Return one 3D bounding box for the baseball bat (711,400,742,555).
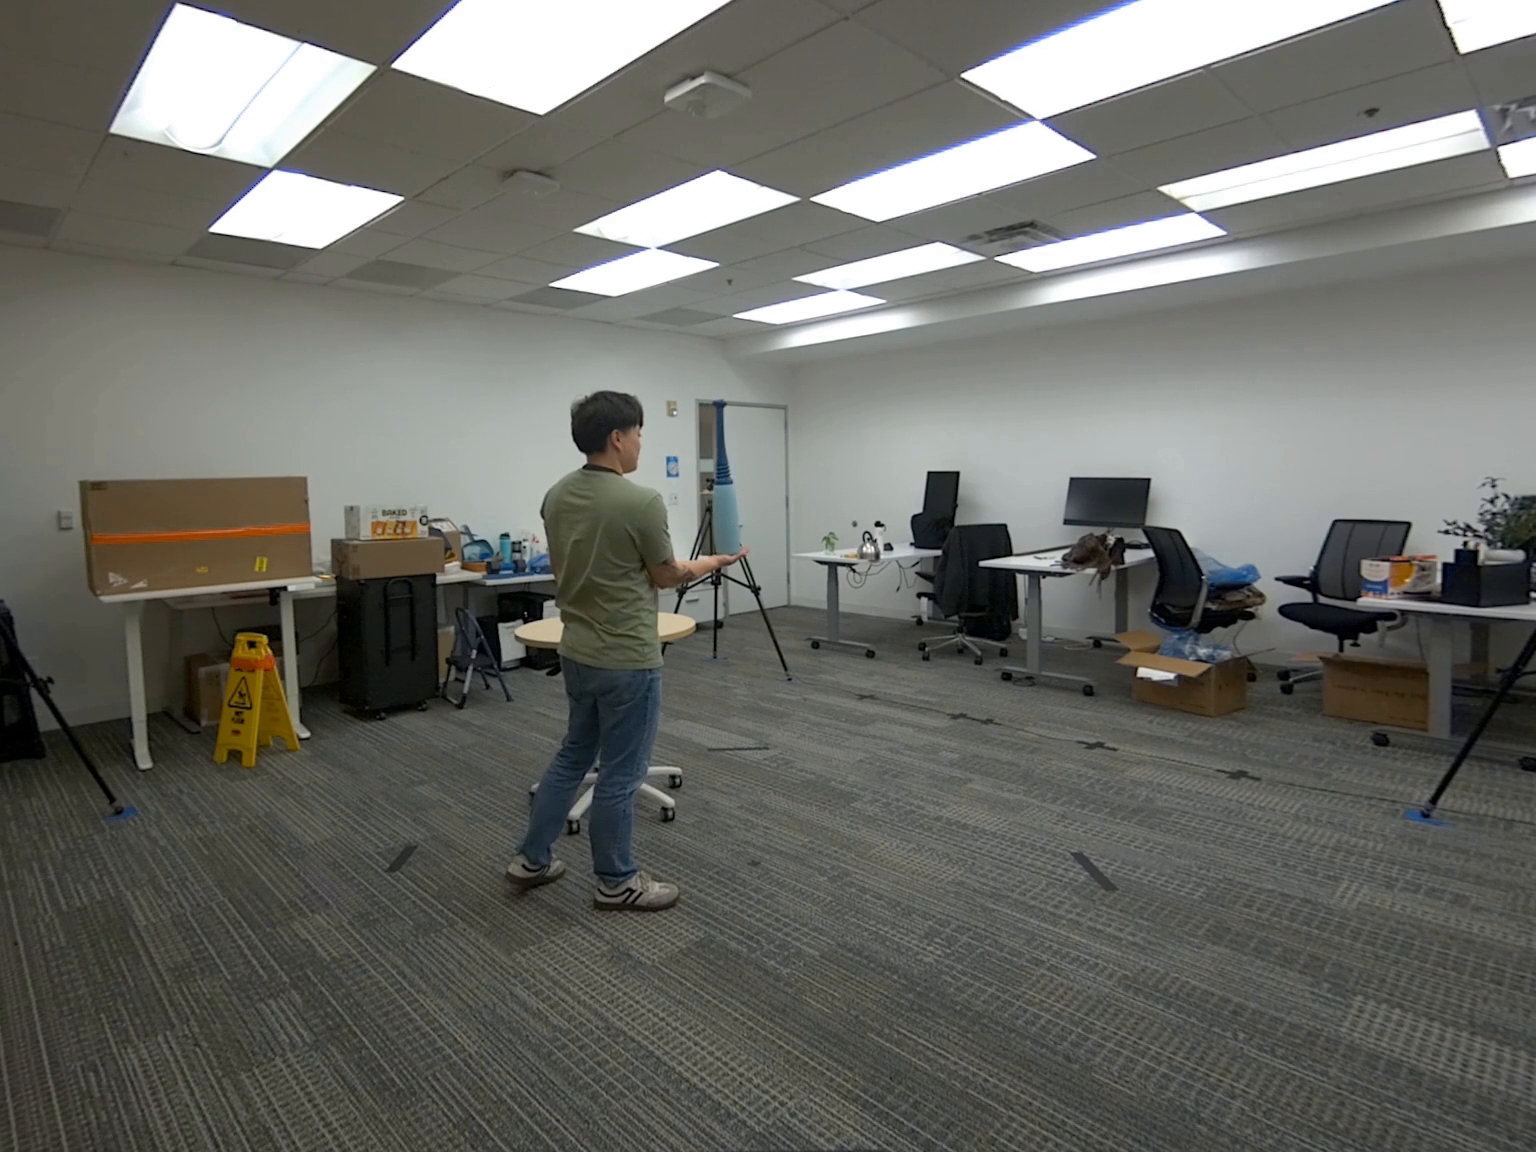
[{"bbox_3d":[-0.152,-0.337,2.956,0.089,0.540,0.089,-2,5,-1],"label":"baseball bat"}]
